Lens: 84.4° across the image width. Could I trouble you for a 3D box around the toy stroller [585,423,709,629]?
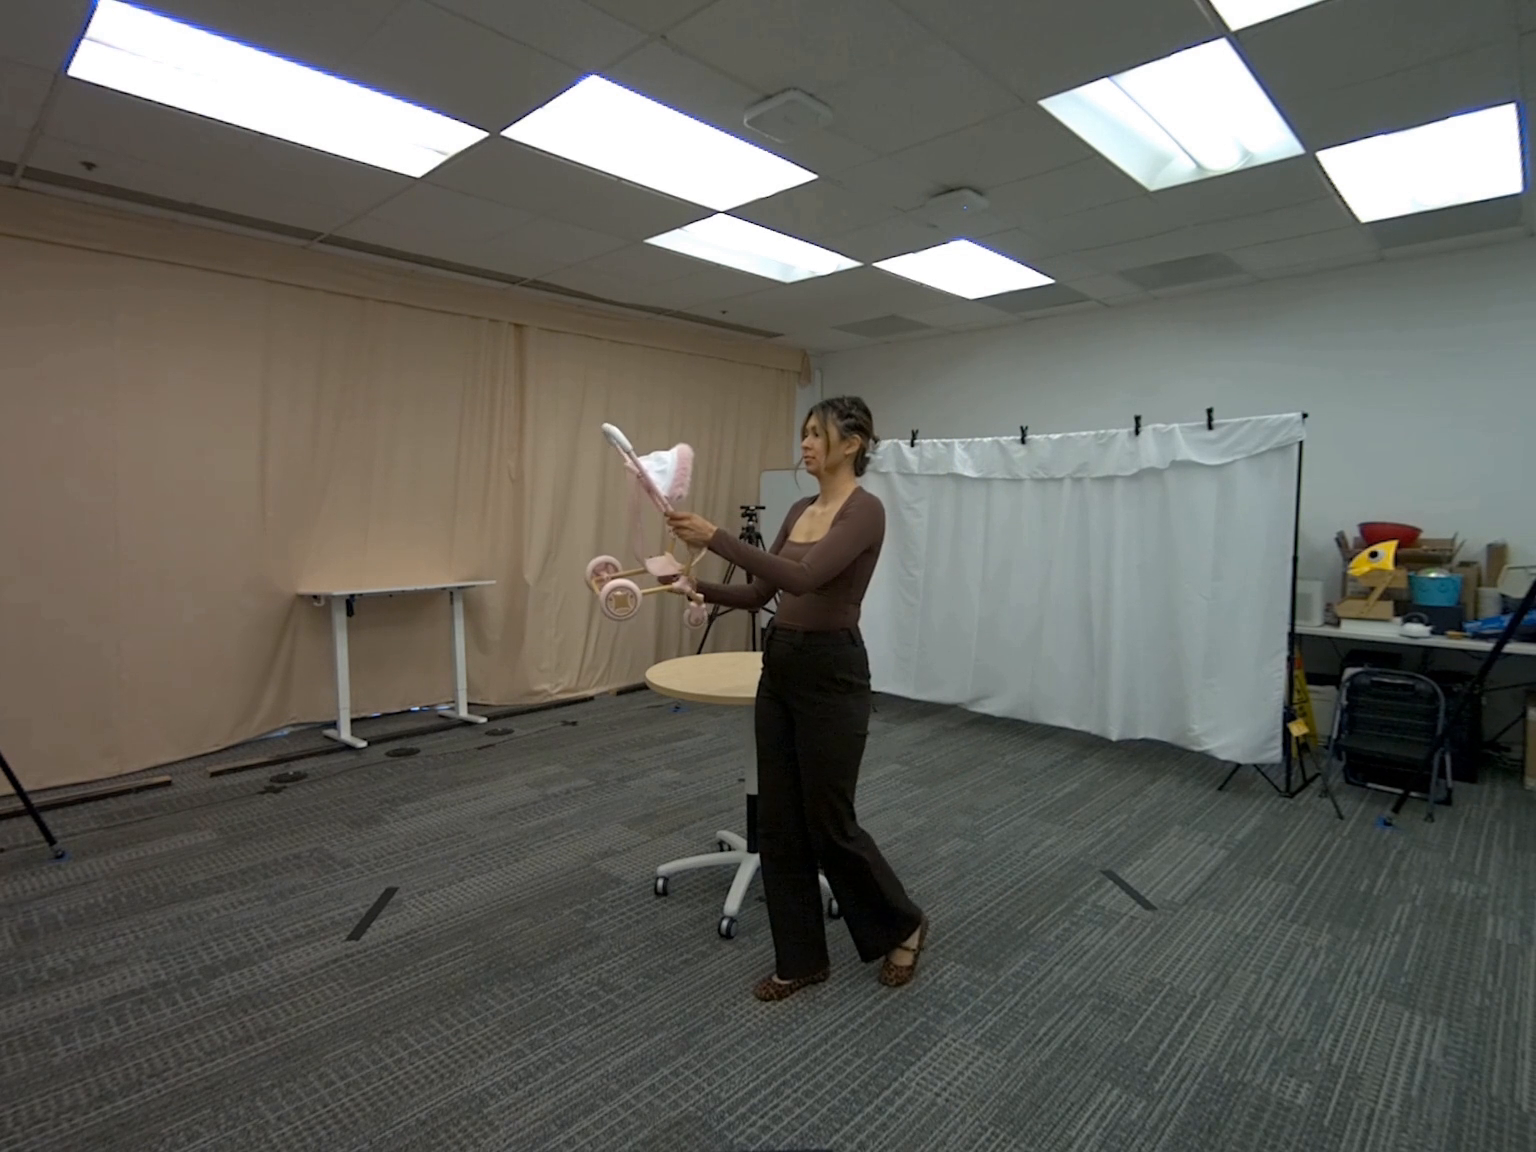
[{"bbox_3d":[-0.285,-0.113,2.236,0.336,0.532,0.288,4,10,-16],"label":"toy stroller"}]
